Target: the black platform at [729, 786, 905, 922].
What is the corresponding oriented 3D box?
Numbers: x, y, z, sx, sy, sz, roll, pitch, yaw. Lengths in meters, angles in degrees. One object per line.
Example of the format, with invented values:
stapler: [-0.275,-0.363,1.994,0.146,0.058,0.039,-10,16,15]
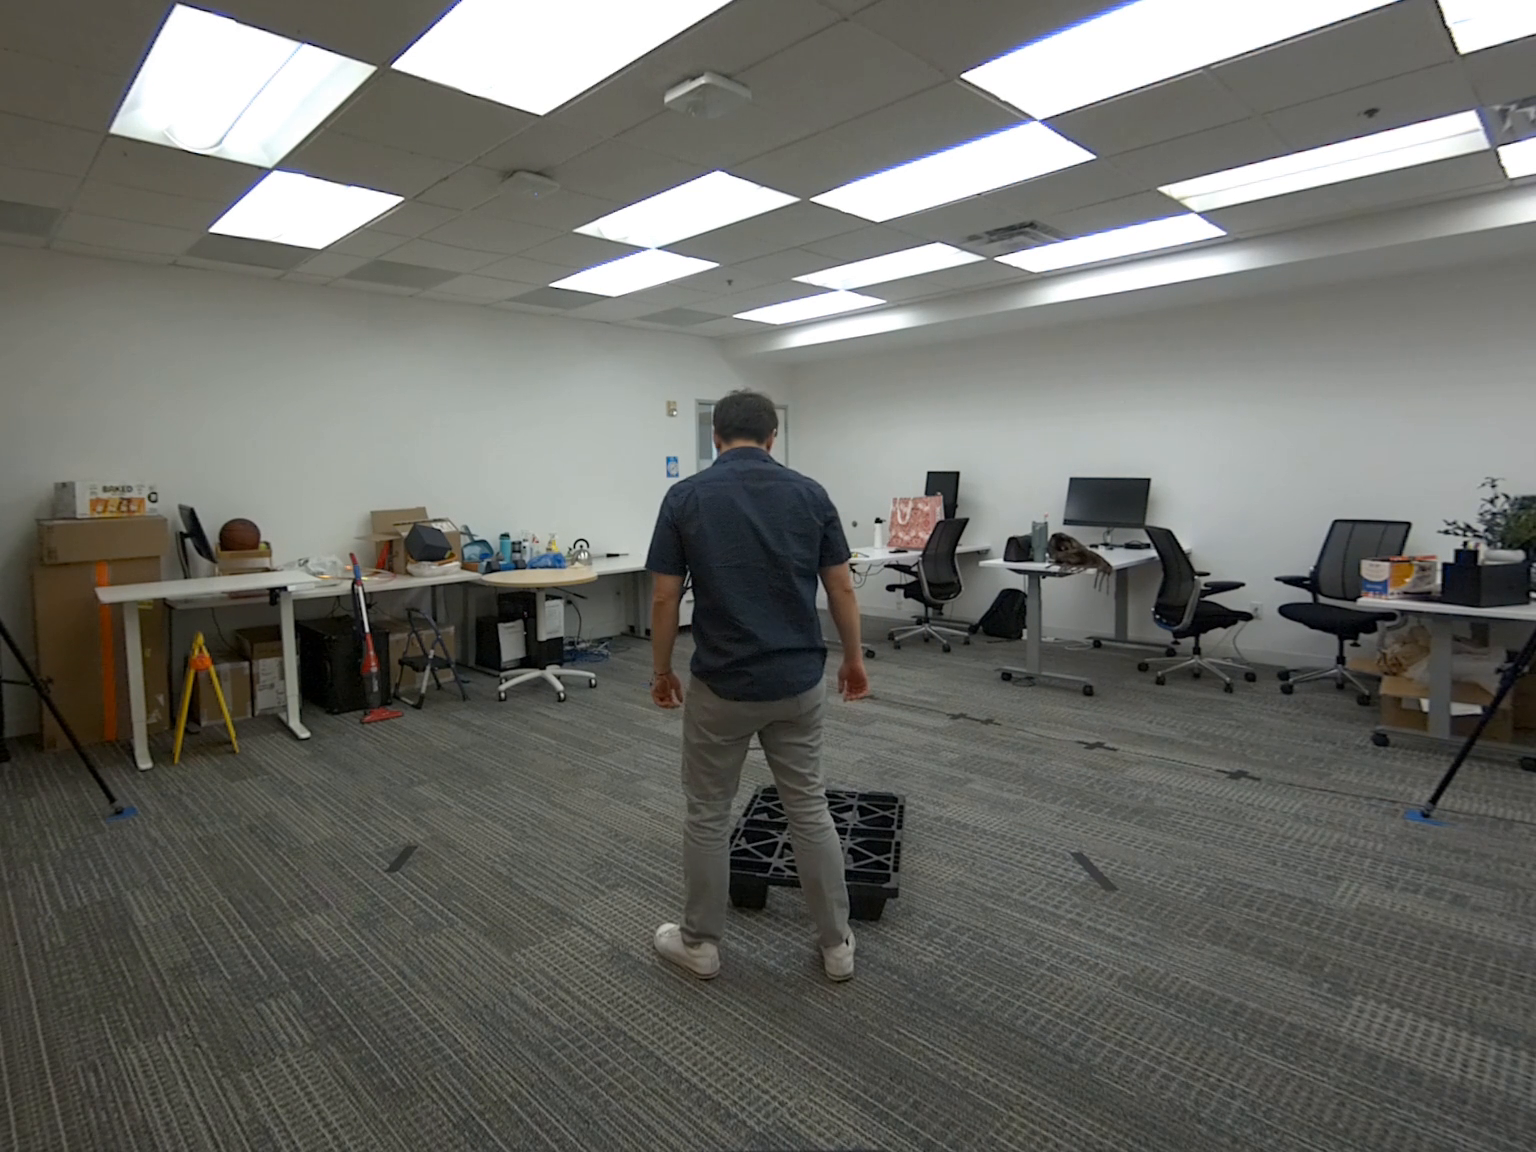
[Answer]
black platform: [0.181,0.977,3.083,0.613,0.143,0.799,0,6,12]
